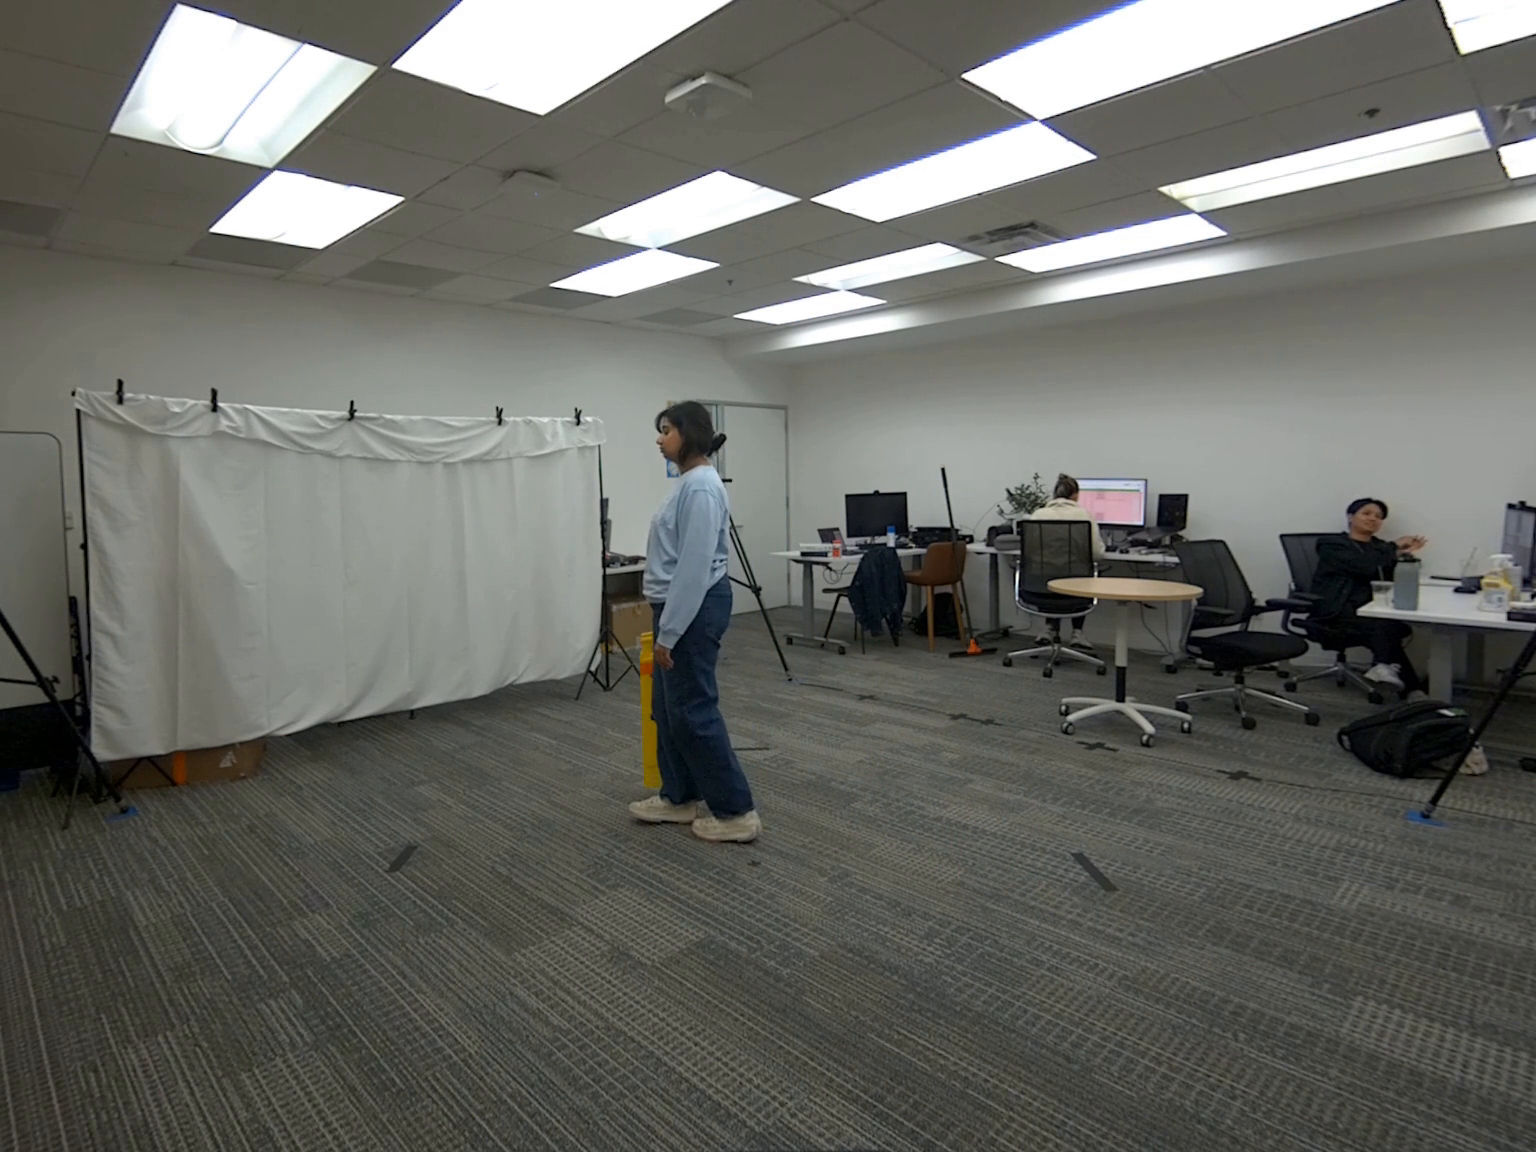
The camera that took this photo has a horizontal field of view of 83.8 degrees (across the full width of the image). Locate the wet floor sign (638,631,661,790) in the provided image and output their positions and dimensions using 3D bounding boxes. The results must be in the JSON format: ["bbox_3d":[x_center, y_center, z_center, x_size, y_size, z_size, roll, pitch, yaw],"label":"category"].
[{"bbox_3d":[-0.423,0.563,3.771,0.281,0.641,0.293,-5,7,-6],"label":"wet floor sign"}]
